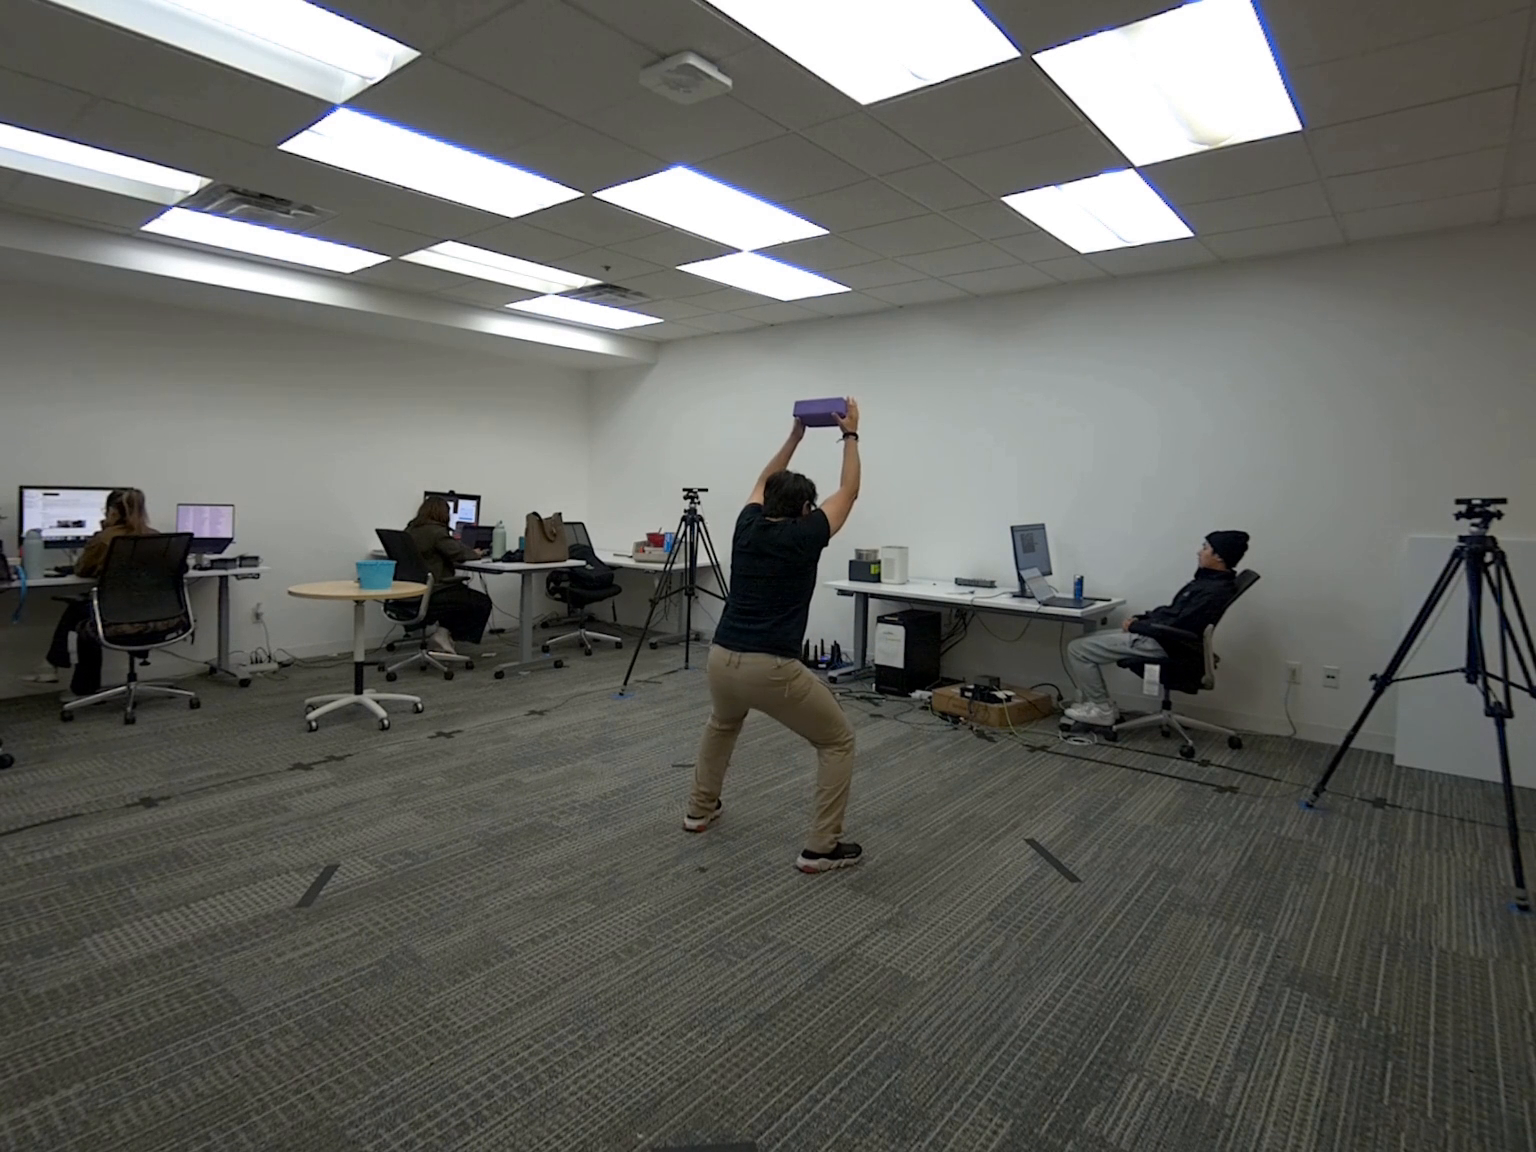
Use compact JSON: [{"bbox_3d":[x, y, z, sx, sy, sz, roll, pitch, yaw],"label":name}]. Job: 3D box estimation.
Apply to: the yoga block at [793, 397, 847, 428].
[{"bbox_3d":[0.227,-0.688,3.574,0.236,0.077,0.143,3,-14,35],"label":"yoga block"}]
